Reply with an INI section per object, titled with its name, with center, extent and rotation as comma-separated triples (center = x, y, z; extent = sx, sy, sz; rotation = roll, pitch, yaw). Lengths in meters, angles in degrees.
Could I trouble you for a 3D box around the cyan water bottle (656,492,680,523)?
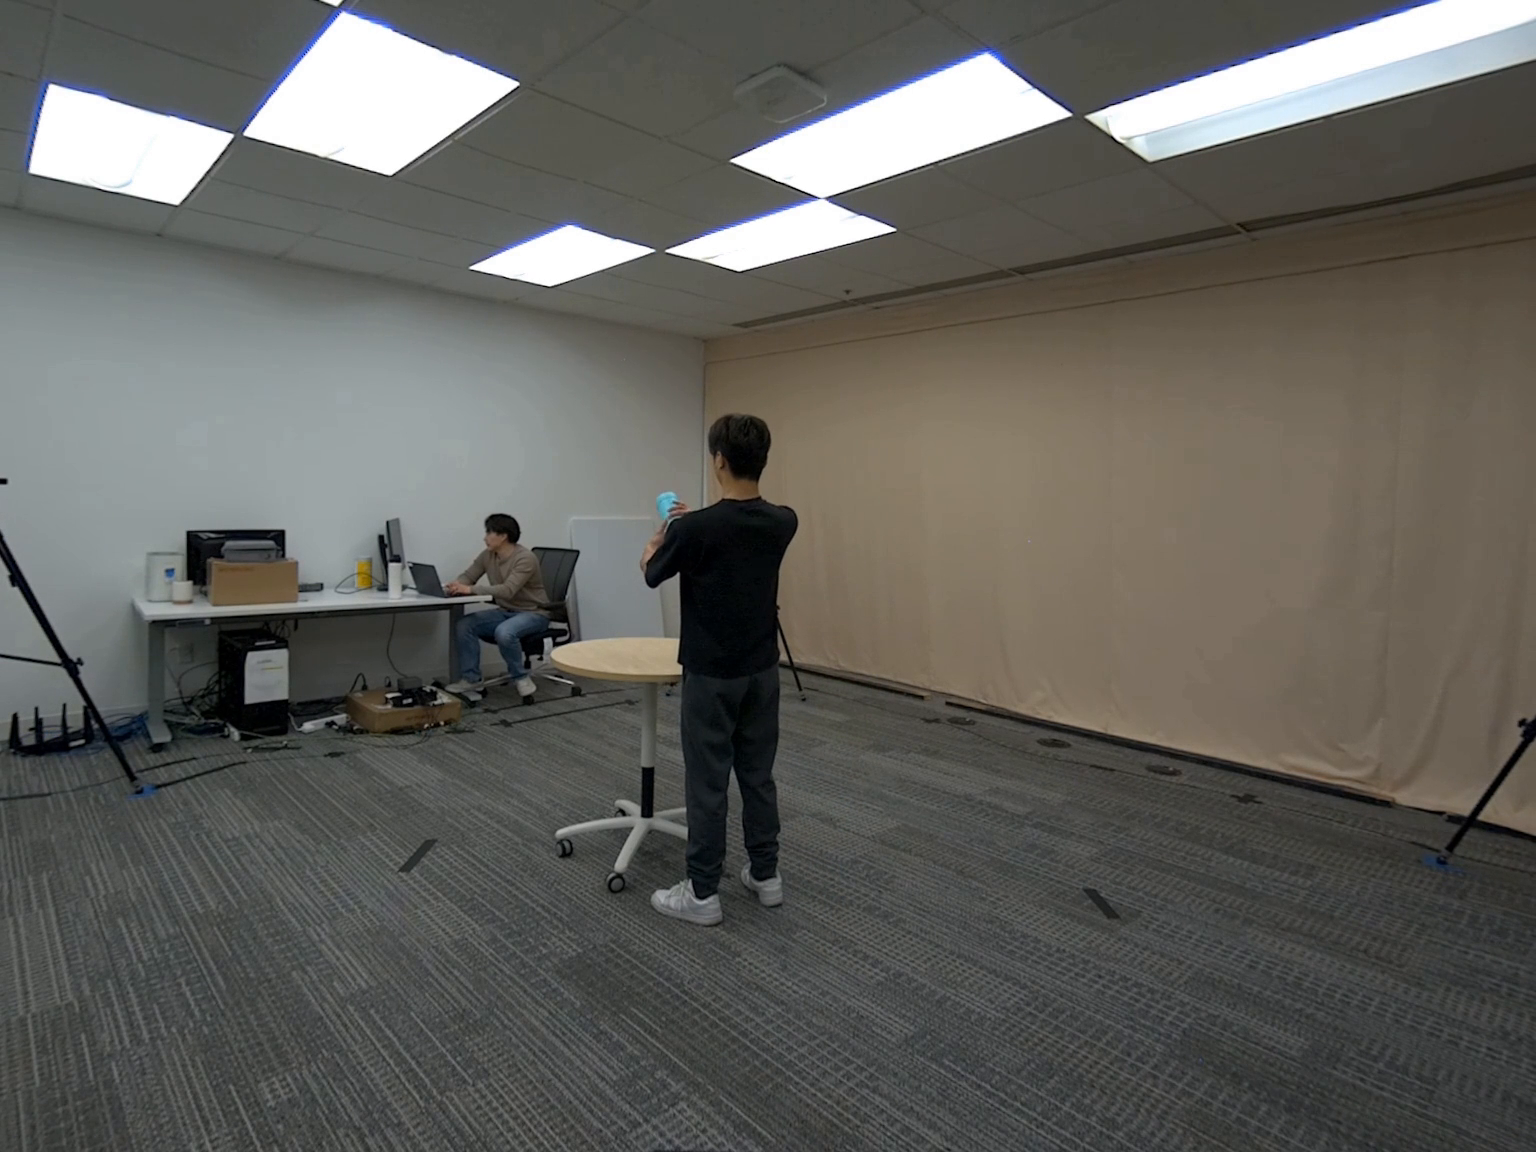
[cyan water bottle]
center = -0.337, -0.179, 3.146
extent = 0.090, 0.091, 0.291
rotation = -1, 48, -31
